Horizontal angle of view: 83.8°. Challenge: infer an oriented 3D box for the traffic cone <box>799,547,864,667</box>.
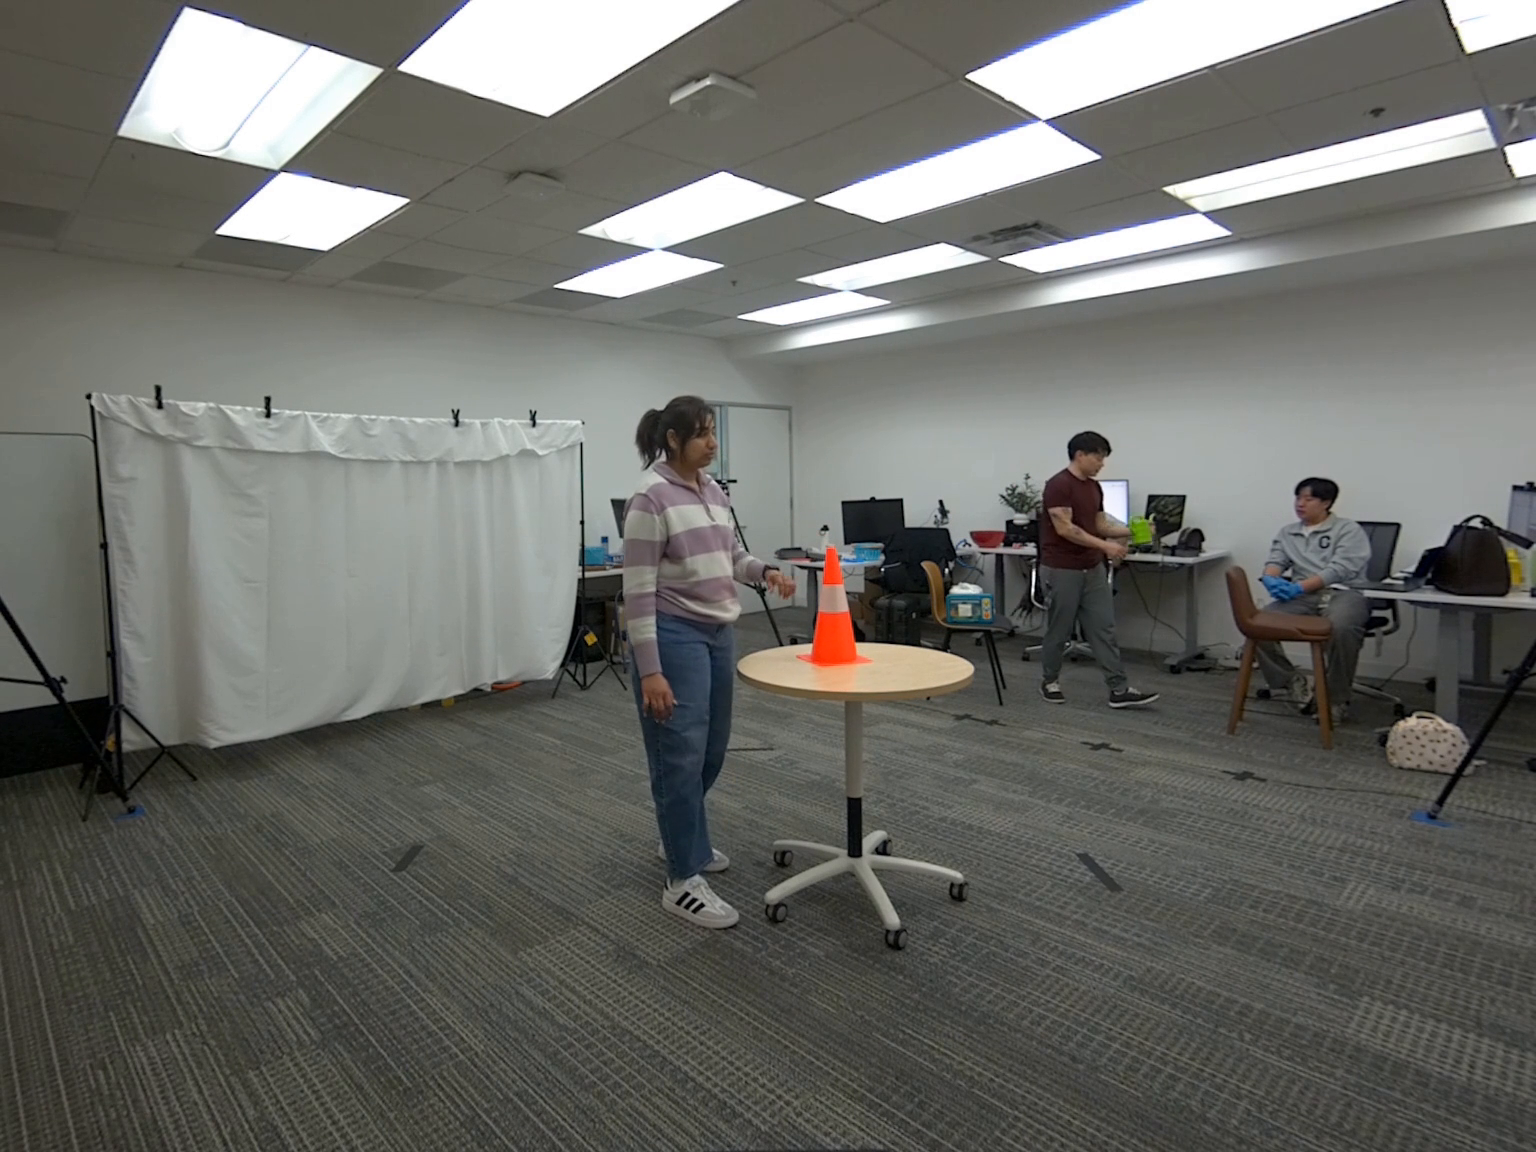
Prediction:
[{"bbox_3d":[0.220,0.095,2.883,0.201,0.382,0.208,-4,6,-22],"label":"traffic cone"}]
